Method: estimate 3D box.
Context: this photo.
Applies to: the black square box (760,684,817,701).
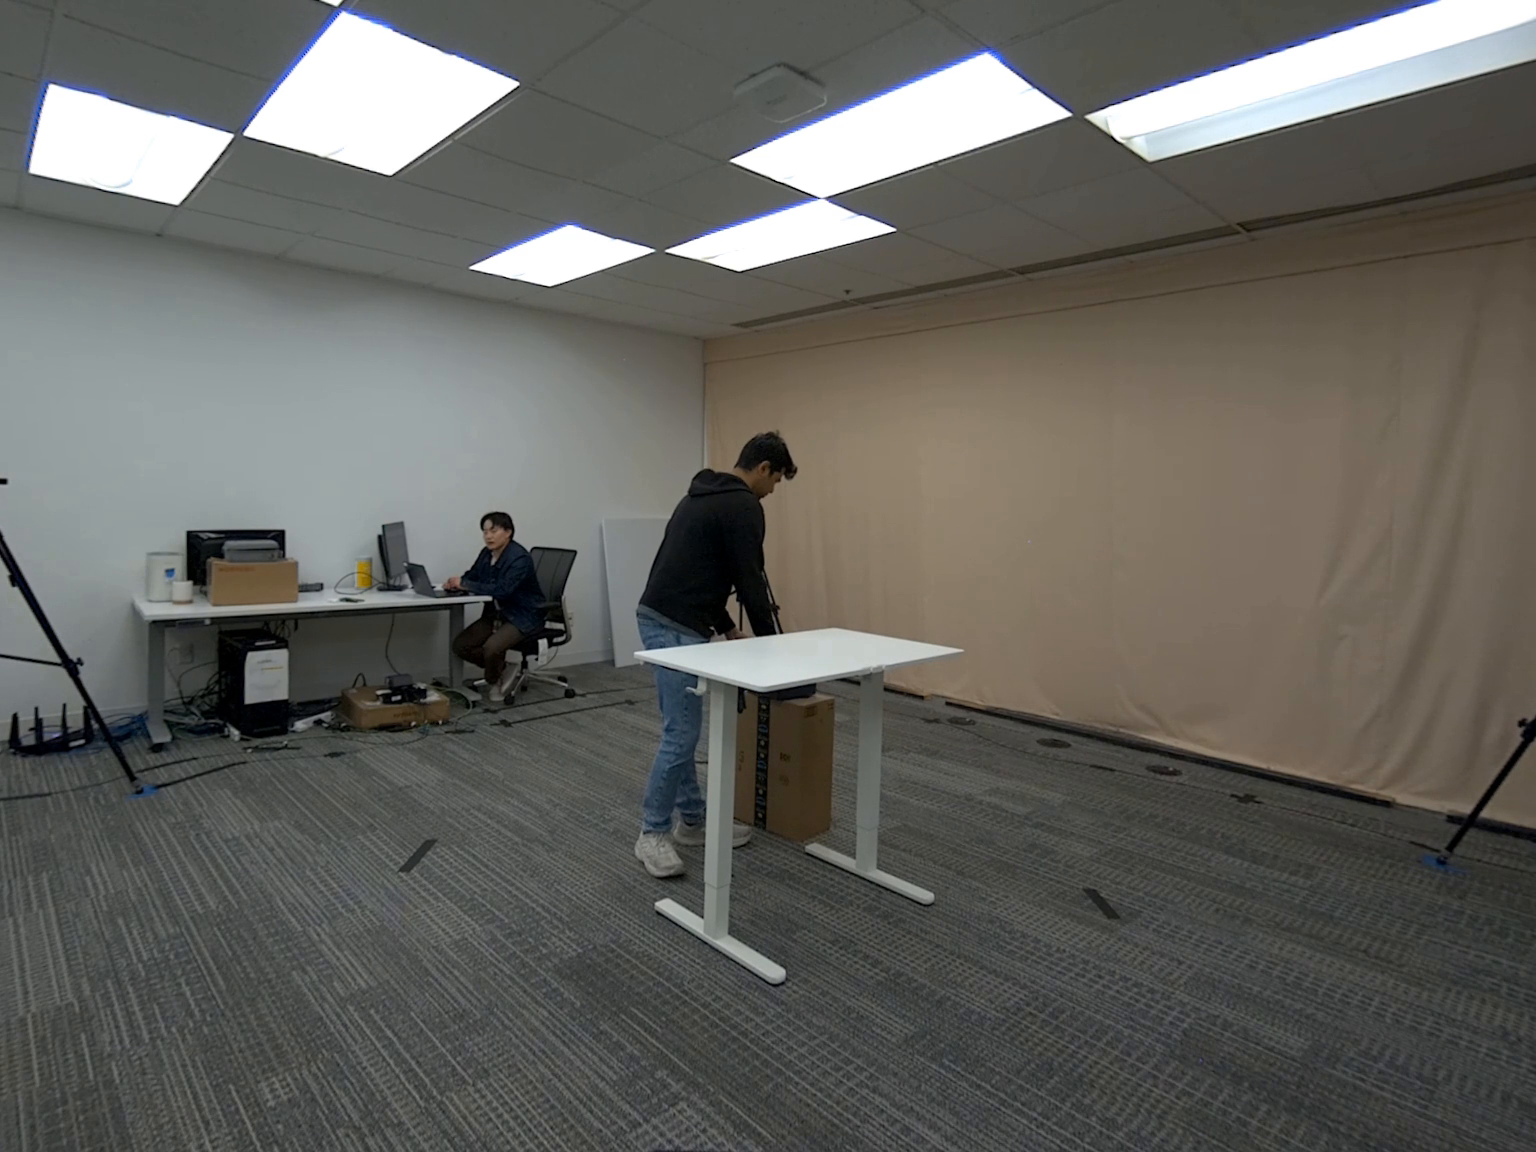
[{"bbox_3d":[0.054,0.405,3.597,0.212,0.155,0.233,-2,5,-37],"label":"black square box"}]
